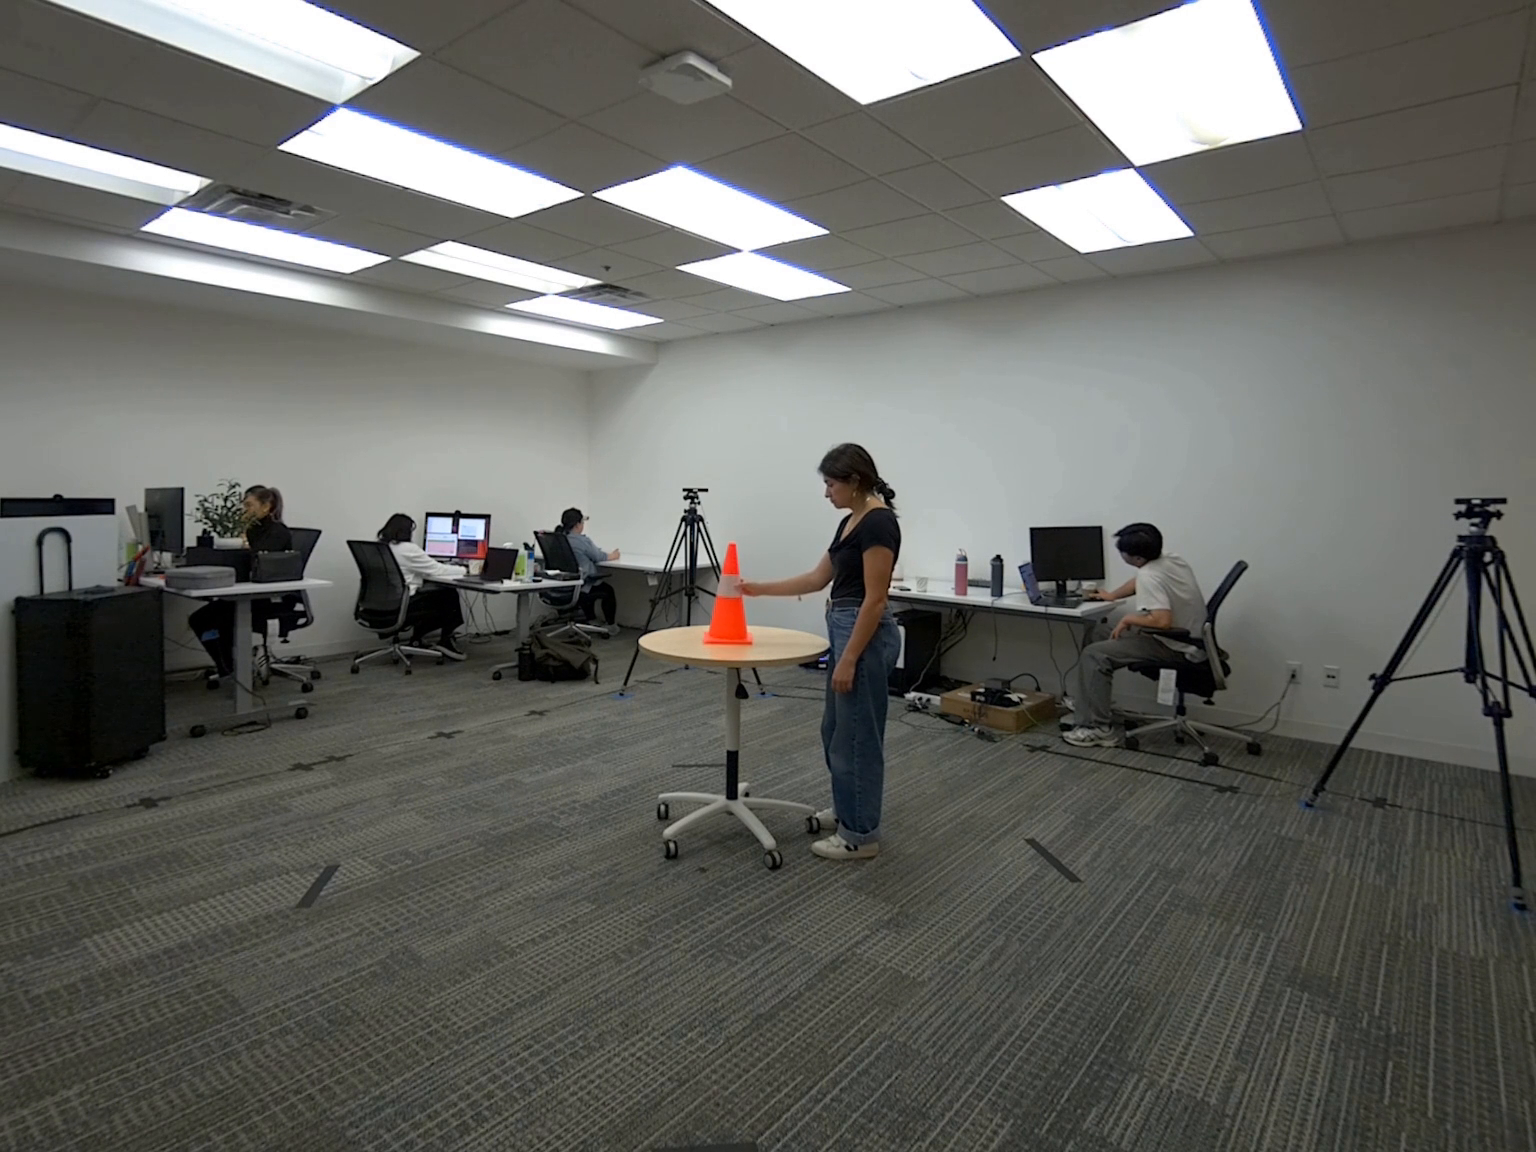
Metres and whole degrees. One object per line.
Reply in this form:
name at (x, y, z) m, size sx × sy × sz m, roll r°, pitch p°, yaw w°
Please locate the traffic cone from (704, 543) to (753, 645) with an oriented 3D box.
traffic cone at (-0.146, 0.053, 3.420) m, size 0.204 × 0.382 × 0.205 m, roll 3°, pitch 5°, yaw -4°
